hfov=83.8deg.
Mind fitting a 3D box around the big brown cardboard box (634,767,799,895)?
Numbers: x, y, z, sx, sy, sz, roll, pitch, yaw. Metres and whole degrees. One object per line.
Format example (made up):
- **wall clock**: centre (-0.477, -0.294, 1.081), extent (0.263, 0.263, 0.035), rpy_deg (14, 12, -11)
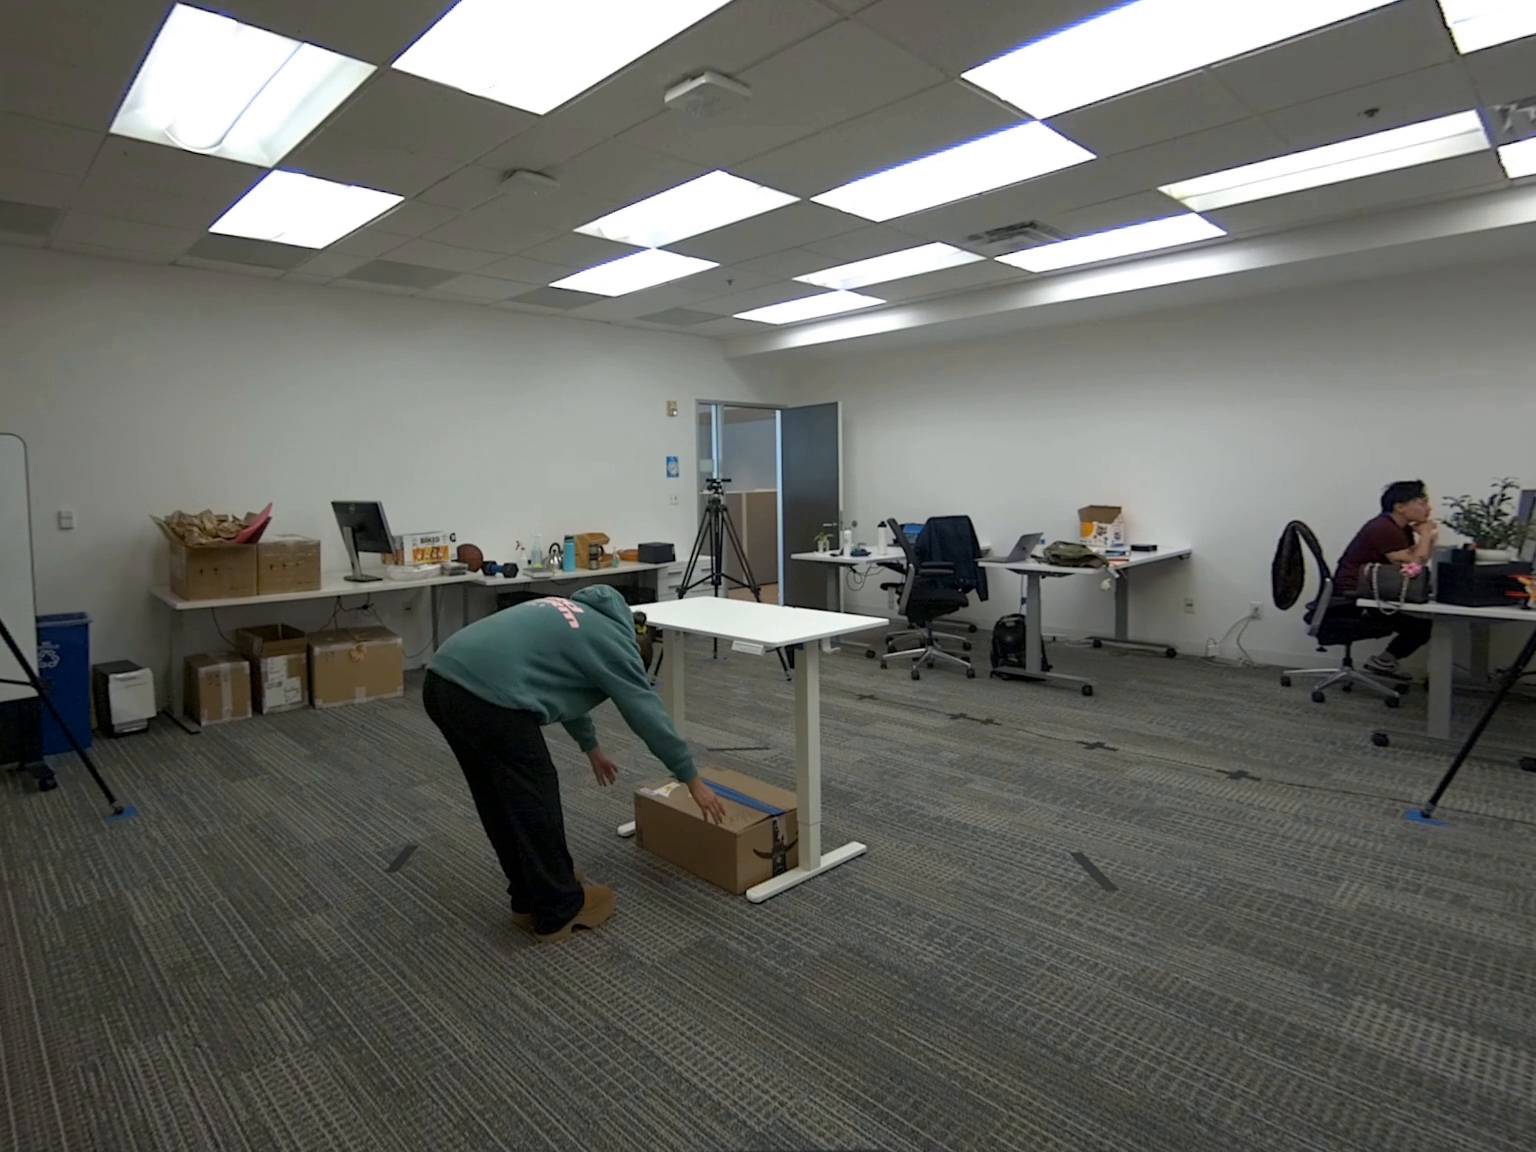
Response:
- **big brown cardboard box**: centre (-0.163, 0.925, 3.193), extent (0.407, 0.232, 0.607), rpy_deg (-7, 9, -44)
